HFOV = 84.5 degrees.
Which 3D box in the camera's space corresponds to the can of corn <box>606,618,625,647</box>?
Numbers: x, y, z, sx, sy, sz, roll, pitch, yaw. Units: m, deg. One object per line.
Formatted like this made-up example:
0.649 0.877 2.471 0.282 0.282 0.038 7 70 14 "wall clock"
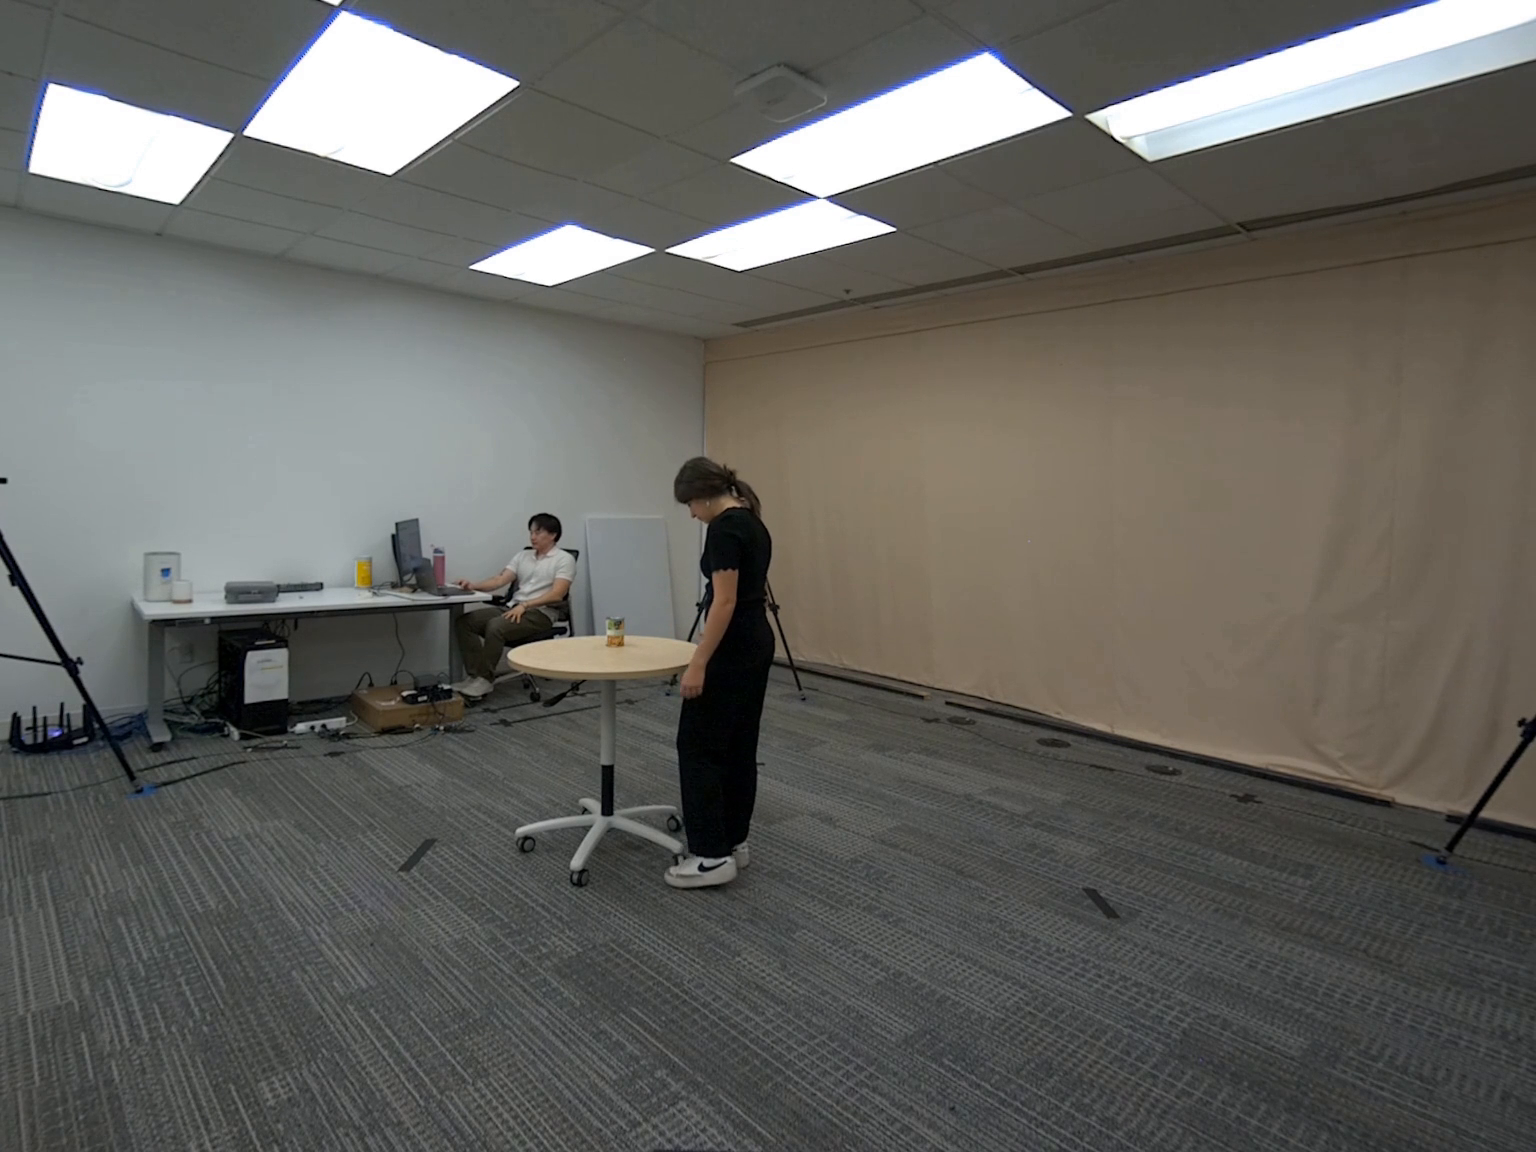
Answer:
-0.626 0.226 3.416 0.074 0.111 0.074 1 2 -1 "can of corn"
